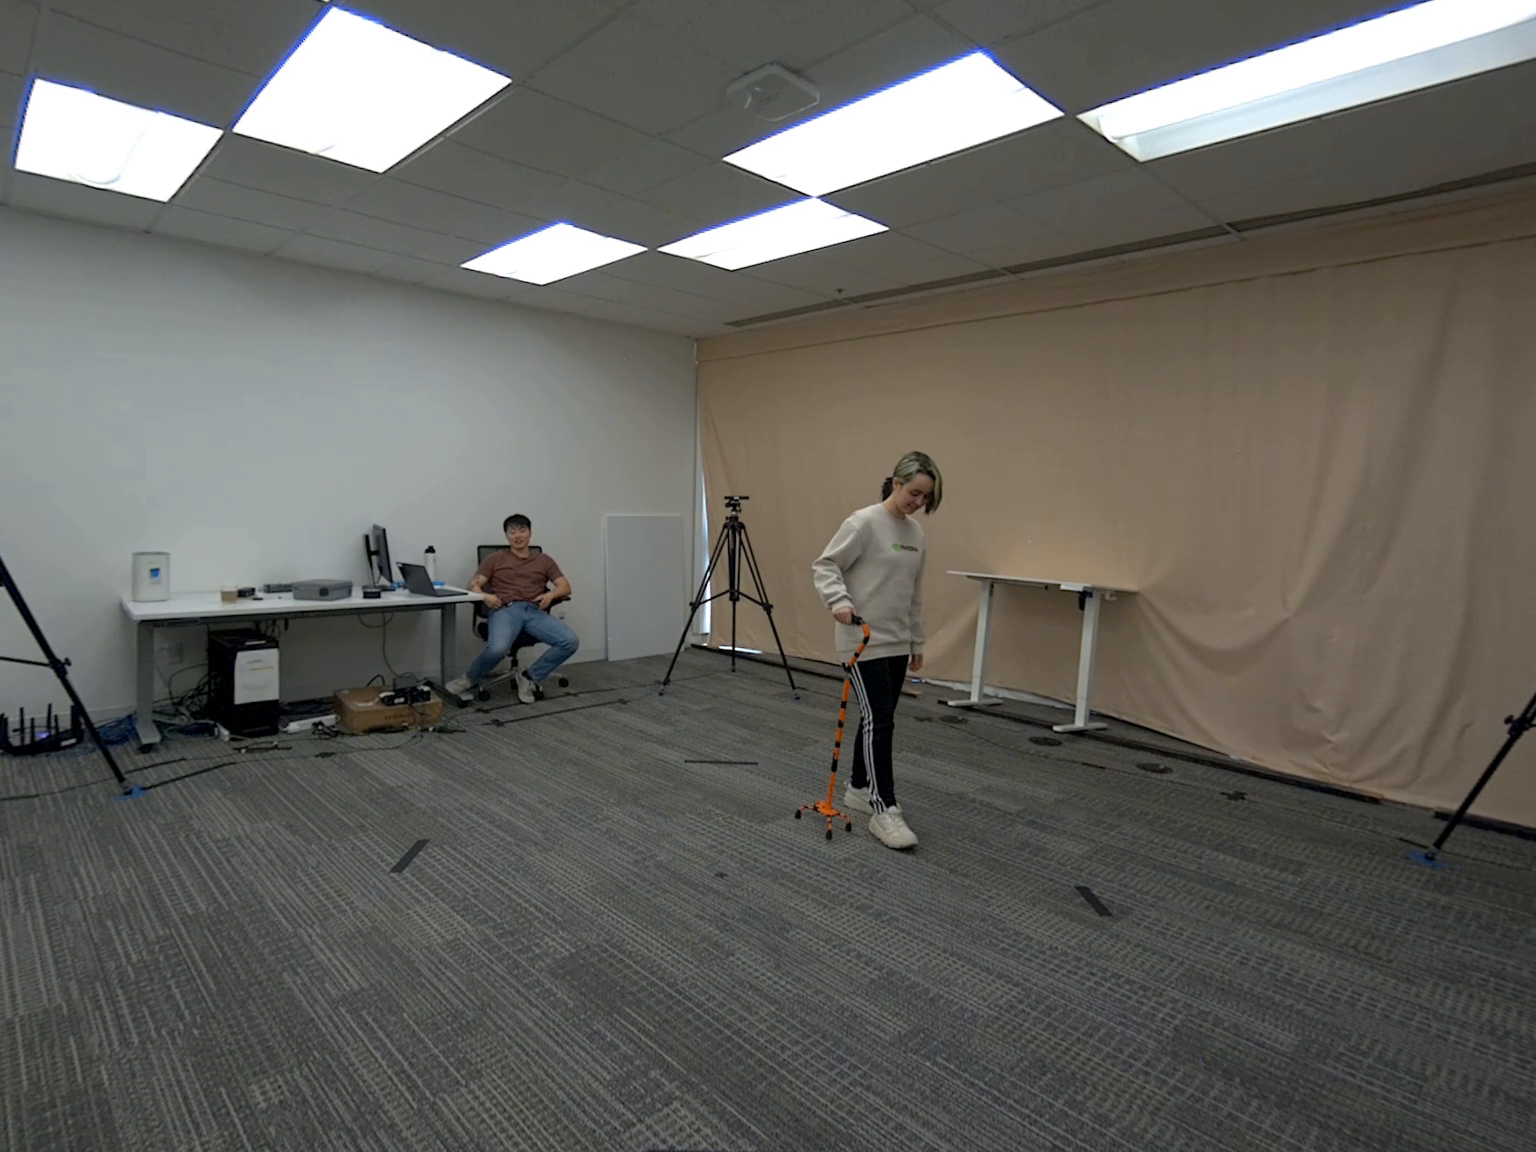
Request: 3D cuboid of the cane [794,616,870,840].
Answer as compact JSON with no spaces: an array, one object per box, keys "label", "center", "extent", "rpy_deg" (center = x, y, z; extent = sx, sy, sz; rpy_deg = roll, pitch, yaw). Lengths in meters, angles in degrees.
[{"label":"cane","center":[0.272,0.602,3.422],"extent":[0.148,0.901,0.212],"rpy_deg":[-5,17,-44]}]
